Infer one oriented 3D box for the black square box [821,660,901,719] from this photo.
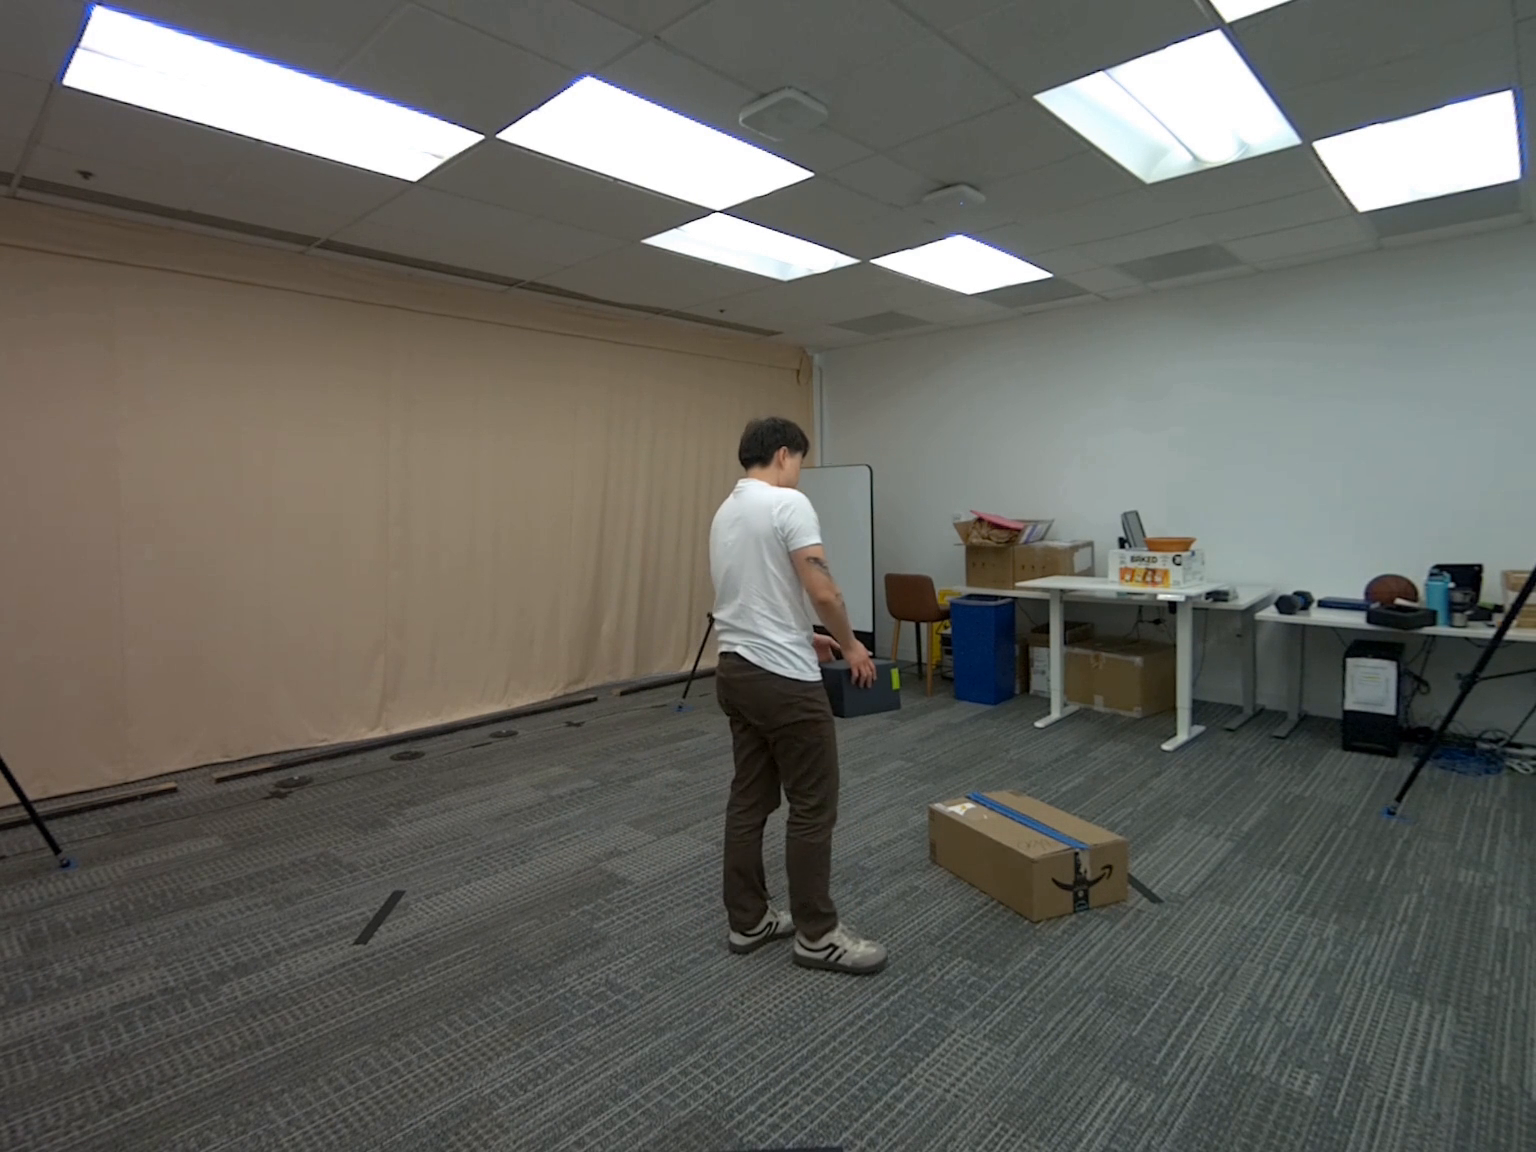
[{"bbox_3d":[0.279,0.363,2.772,0.212,0.156,0.233,-4,0,-24],"label":"black square box"}]
